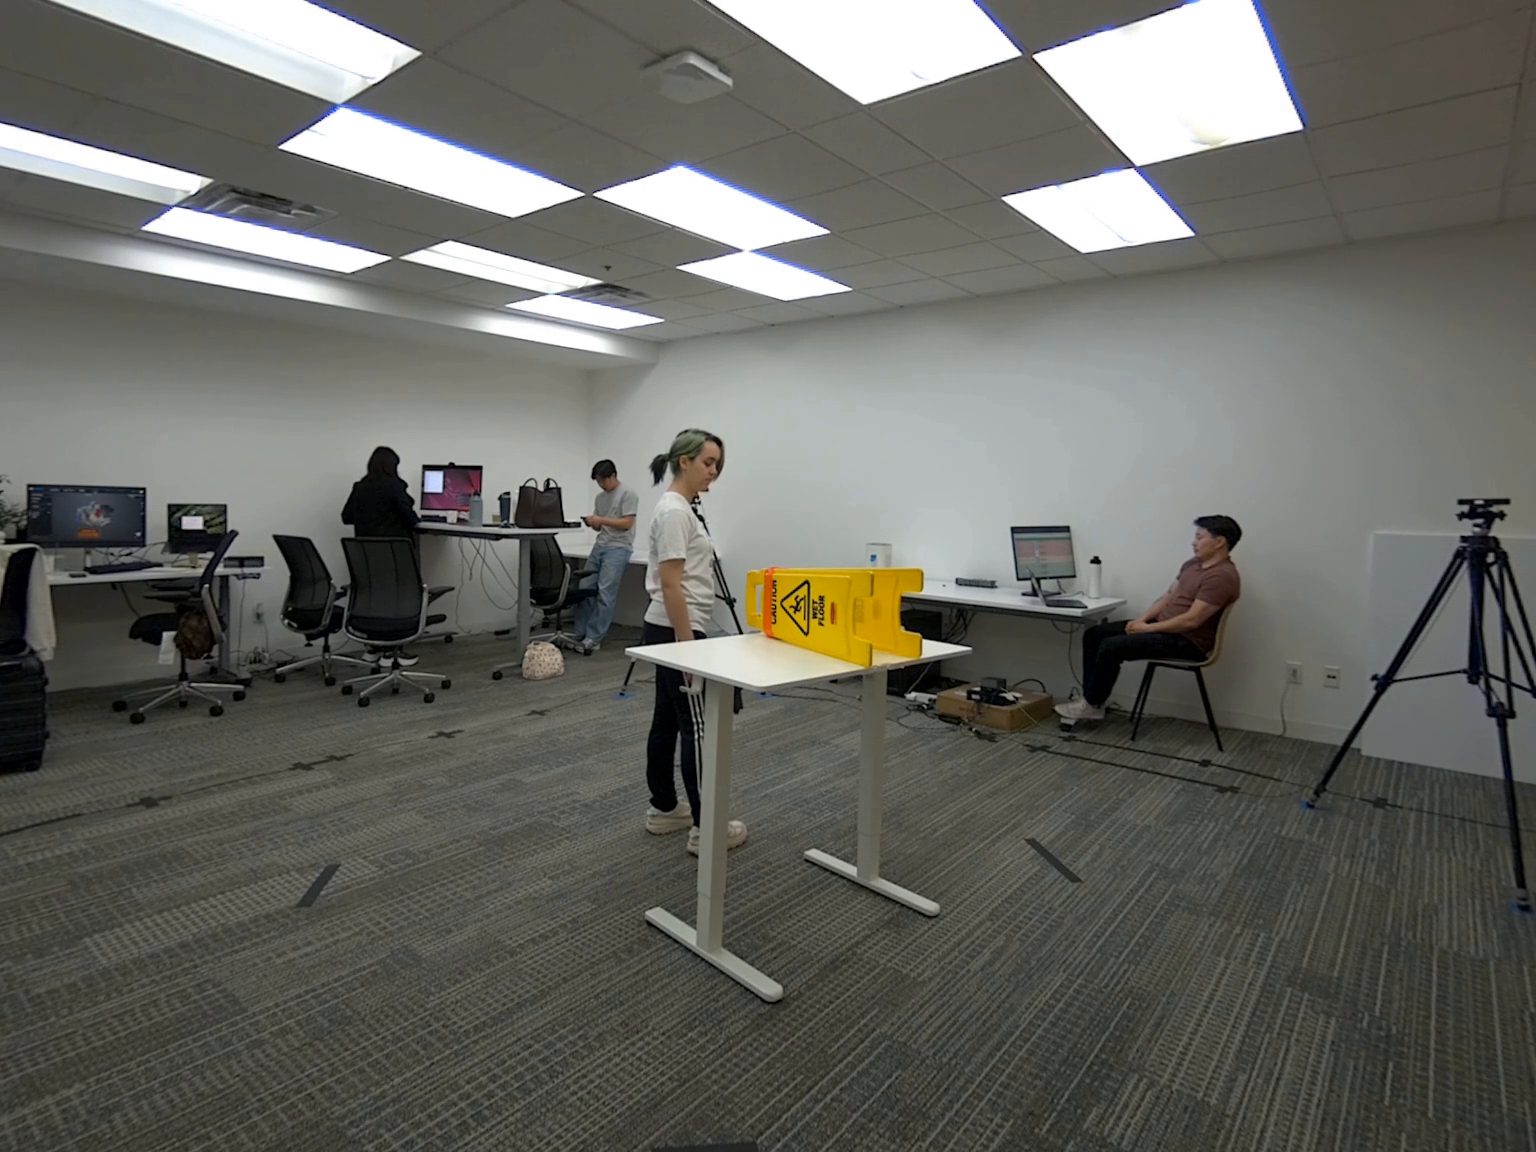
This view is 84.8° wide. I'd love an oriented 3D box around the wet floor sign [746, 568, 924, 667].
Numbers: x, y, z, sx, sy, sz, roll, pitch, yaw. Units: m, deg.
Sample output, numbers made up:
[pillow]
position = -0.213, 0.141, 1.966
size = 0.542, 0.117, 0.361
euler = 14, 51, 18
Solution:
[wet floor sign]
position = 0.148, 0.100, 2.783
size = 0.281, 0.281, 0.668
euler = -2, 5, -44
